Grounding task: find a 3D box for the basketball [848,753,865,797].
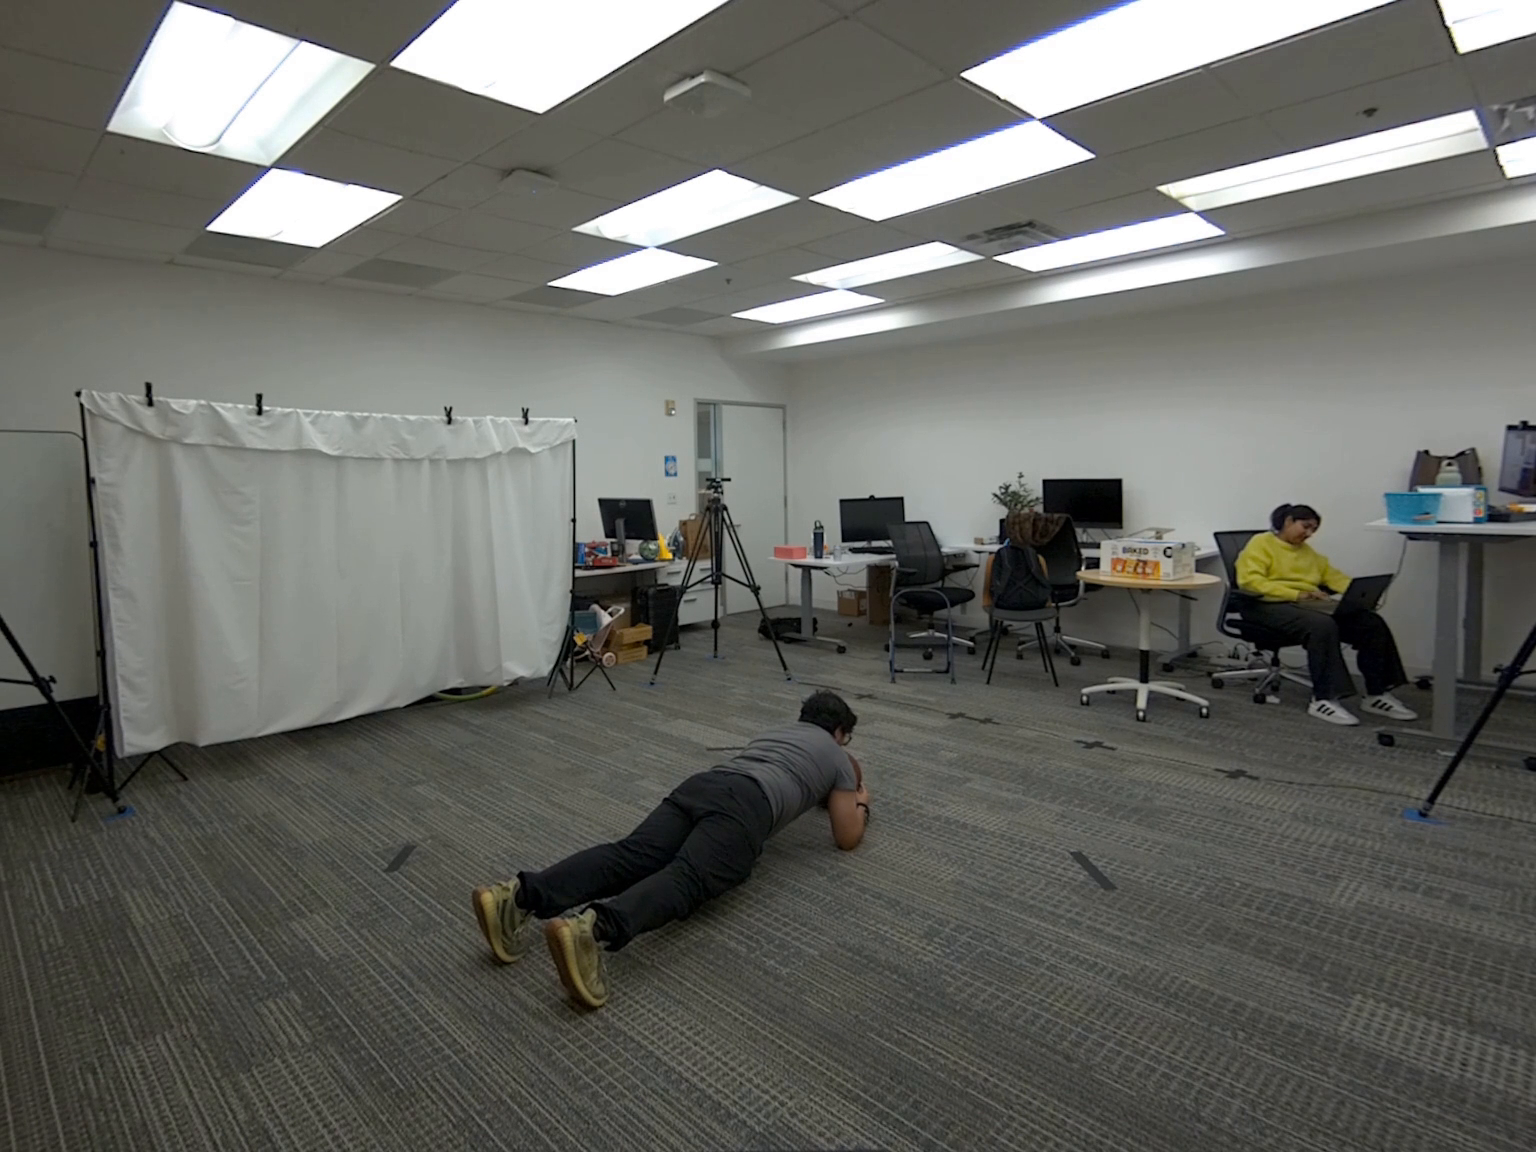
[{"bbox_3d":[0.288,0.854,3.641,0.236,0.235,0.237,-1,5,-2],"label":"basketball"}]
